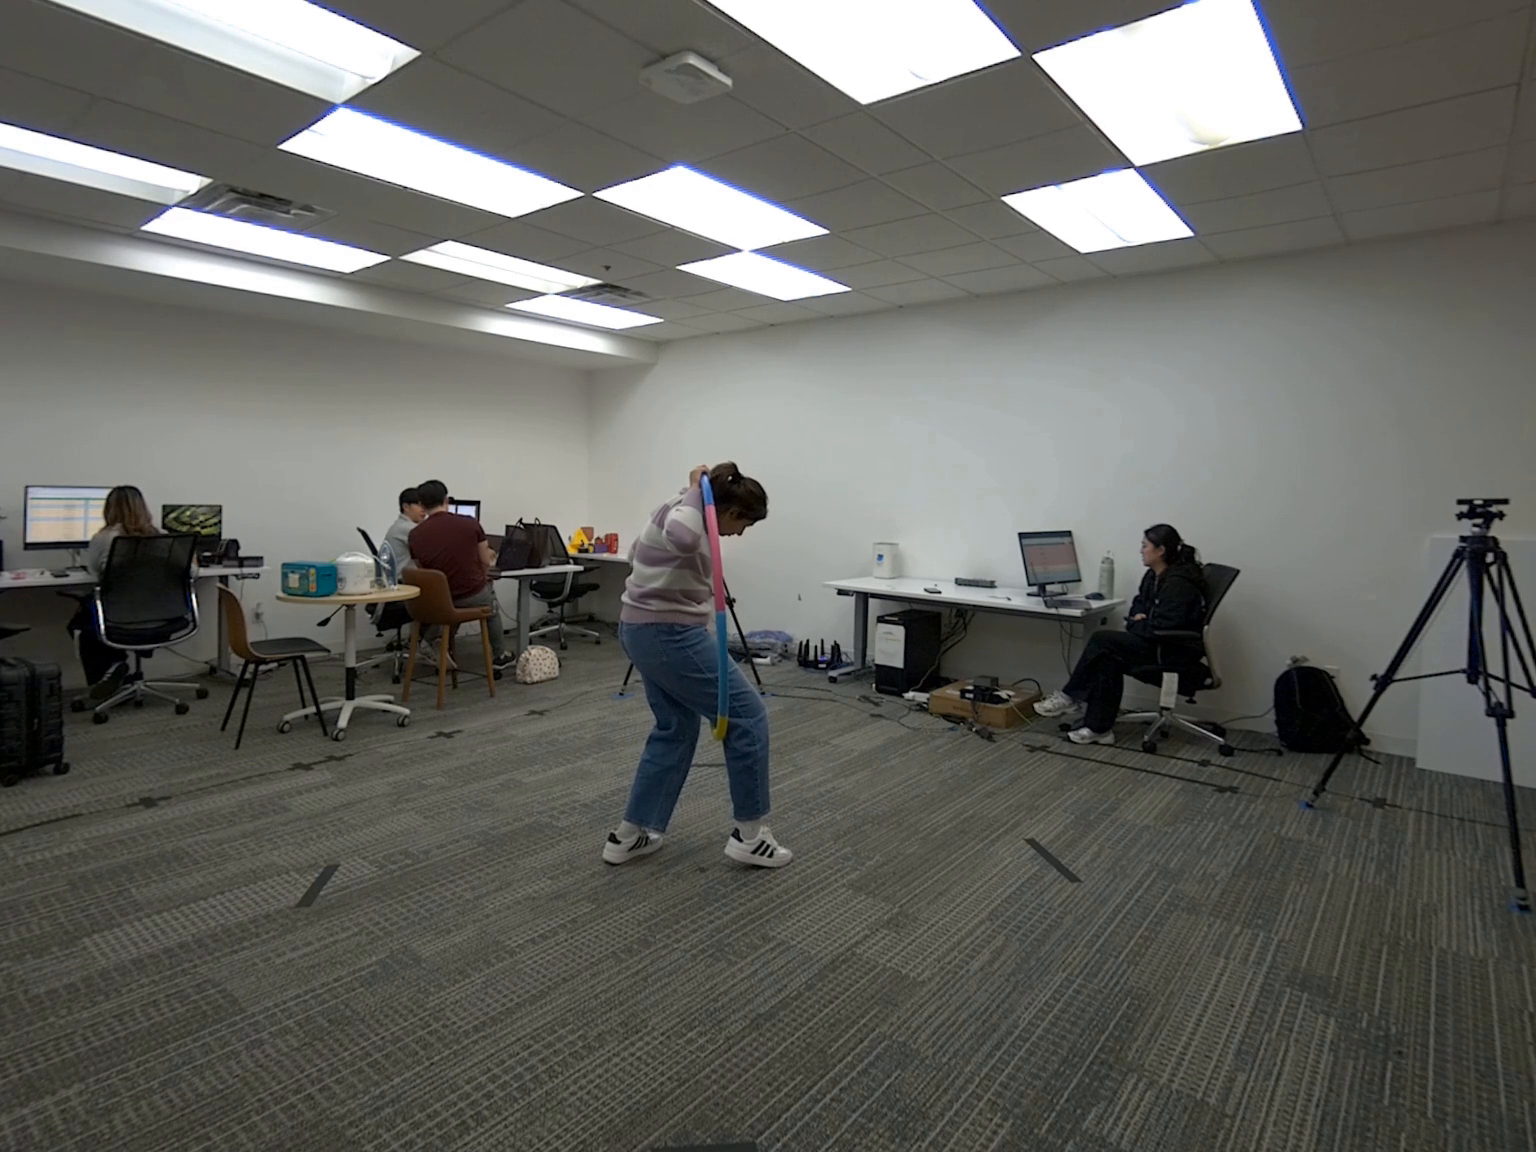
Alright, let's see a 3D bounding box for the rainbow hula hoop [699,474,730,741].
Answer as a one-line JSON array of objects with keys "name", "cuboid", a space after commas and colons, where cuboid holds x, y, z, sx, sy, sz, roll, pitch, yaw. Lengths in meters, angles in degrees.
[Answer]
[{"name": "rainbow hula hoop", "cuboid": [-0.226, 0.094, 3.123, 0.051, 0.982, 0.994, -4, 4, -7]}]
